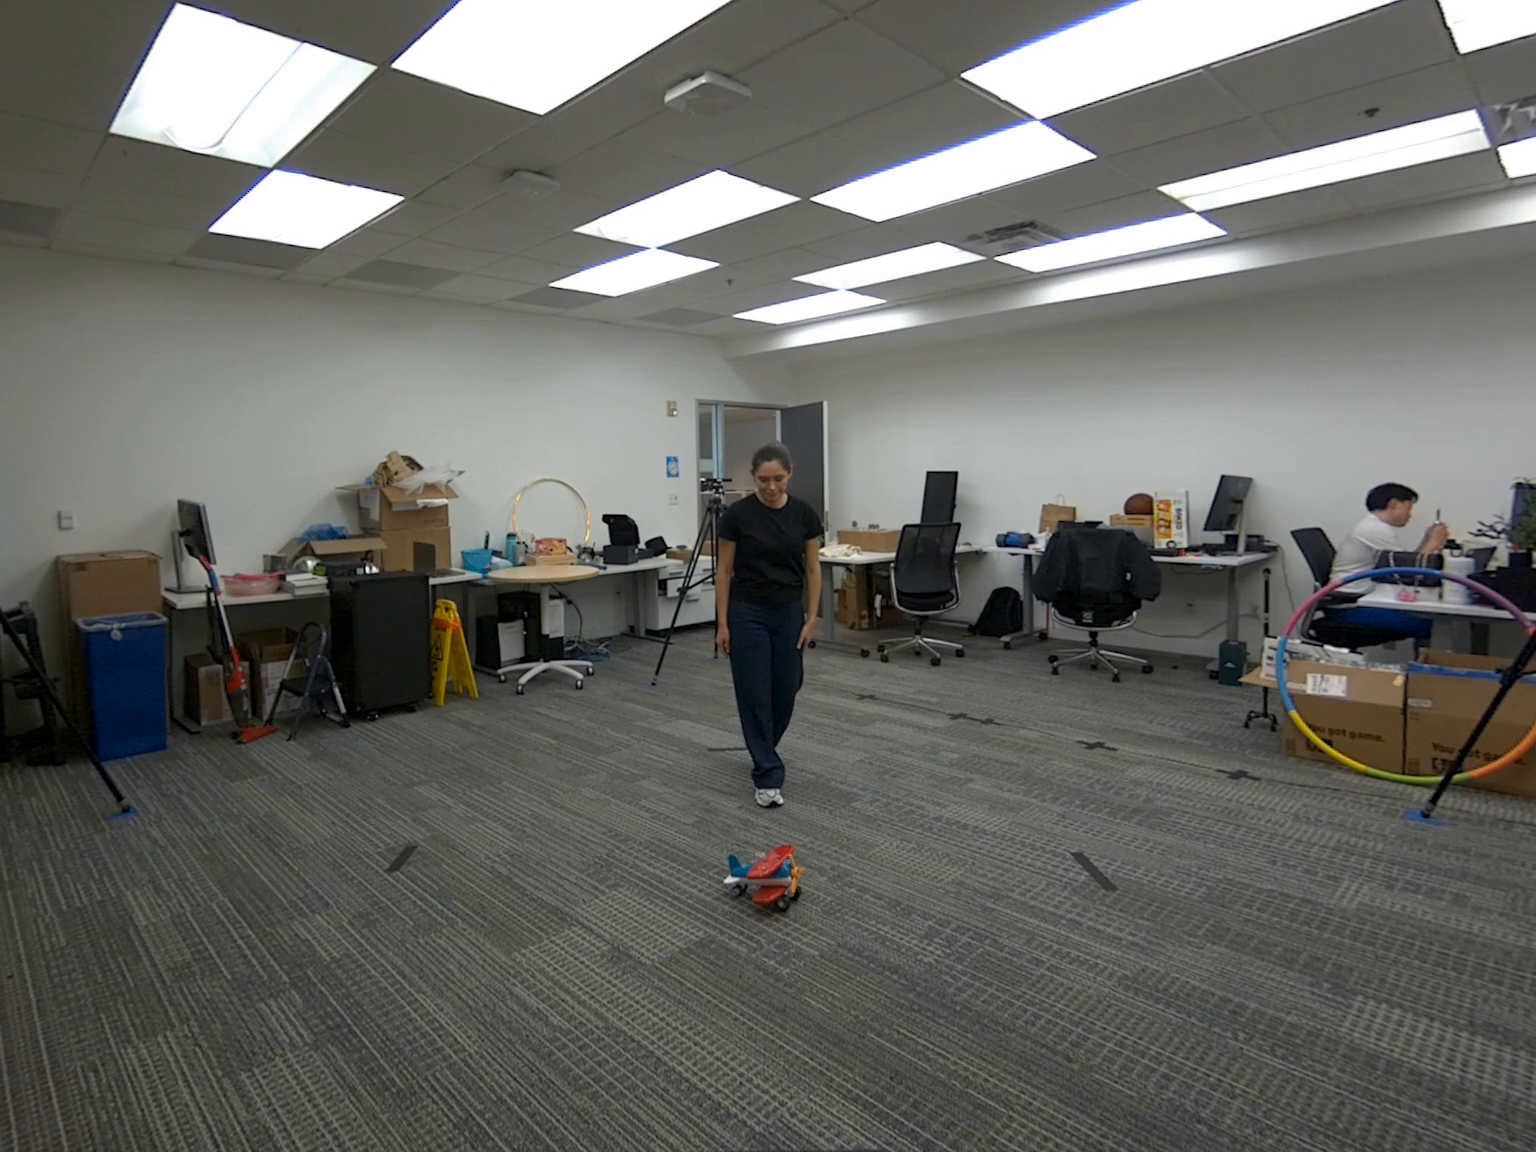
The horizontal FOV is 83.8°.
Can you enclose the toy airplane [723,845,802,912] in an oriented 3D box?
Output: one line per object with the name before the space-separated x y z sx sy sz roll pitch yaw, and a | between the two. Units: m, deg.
toy airplane | -0.020 1.006 2.831 0.259 0.156 0.252 0 6 0
